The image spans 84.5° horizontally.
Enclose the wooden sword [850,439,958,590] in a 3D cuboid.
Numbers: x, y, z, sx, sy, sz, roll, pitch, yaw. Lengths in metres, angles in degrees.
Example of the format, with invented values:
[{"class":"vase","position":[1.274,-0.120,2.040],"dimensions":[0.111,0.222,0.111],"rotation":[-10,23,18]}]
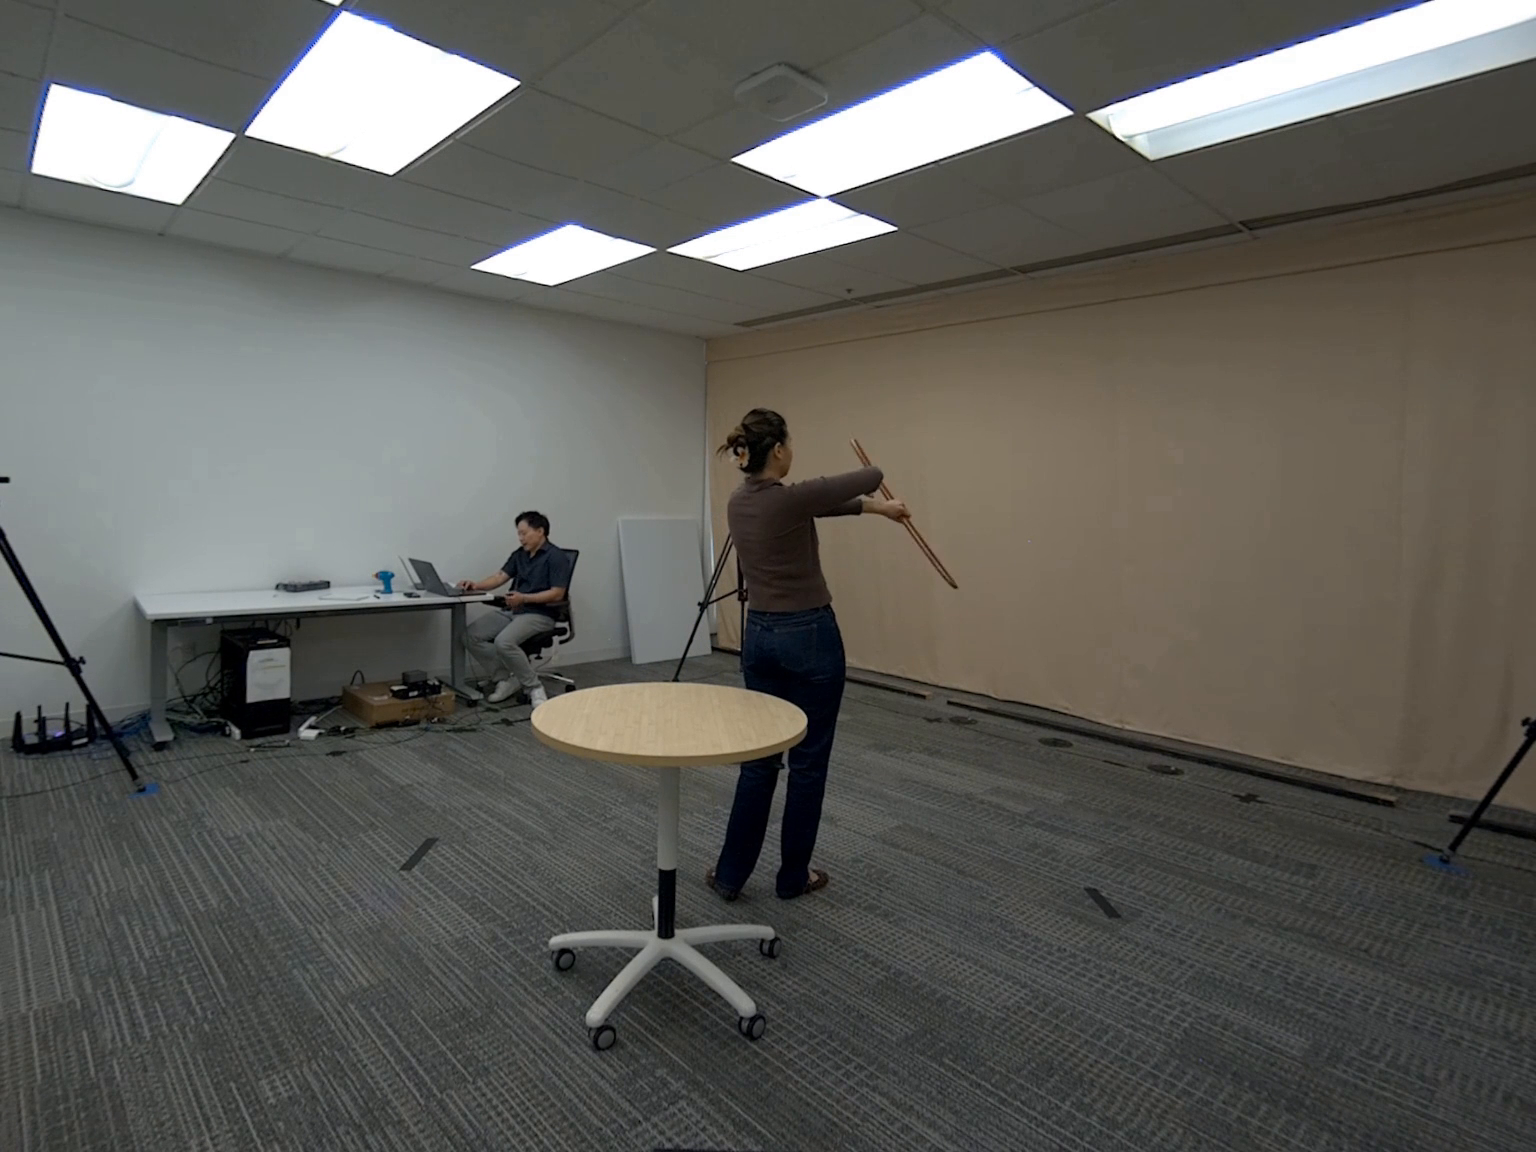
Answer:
[{"class":"wooden sword","position":[0.486,-0.271,3.236],"dimensions":[0.050,0.024,1.053],"rotation":[12,34,-23]}]
